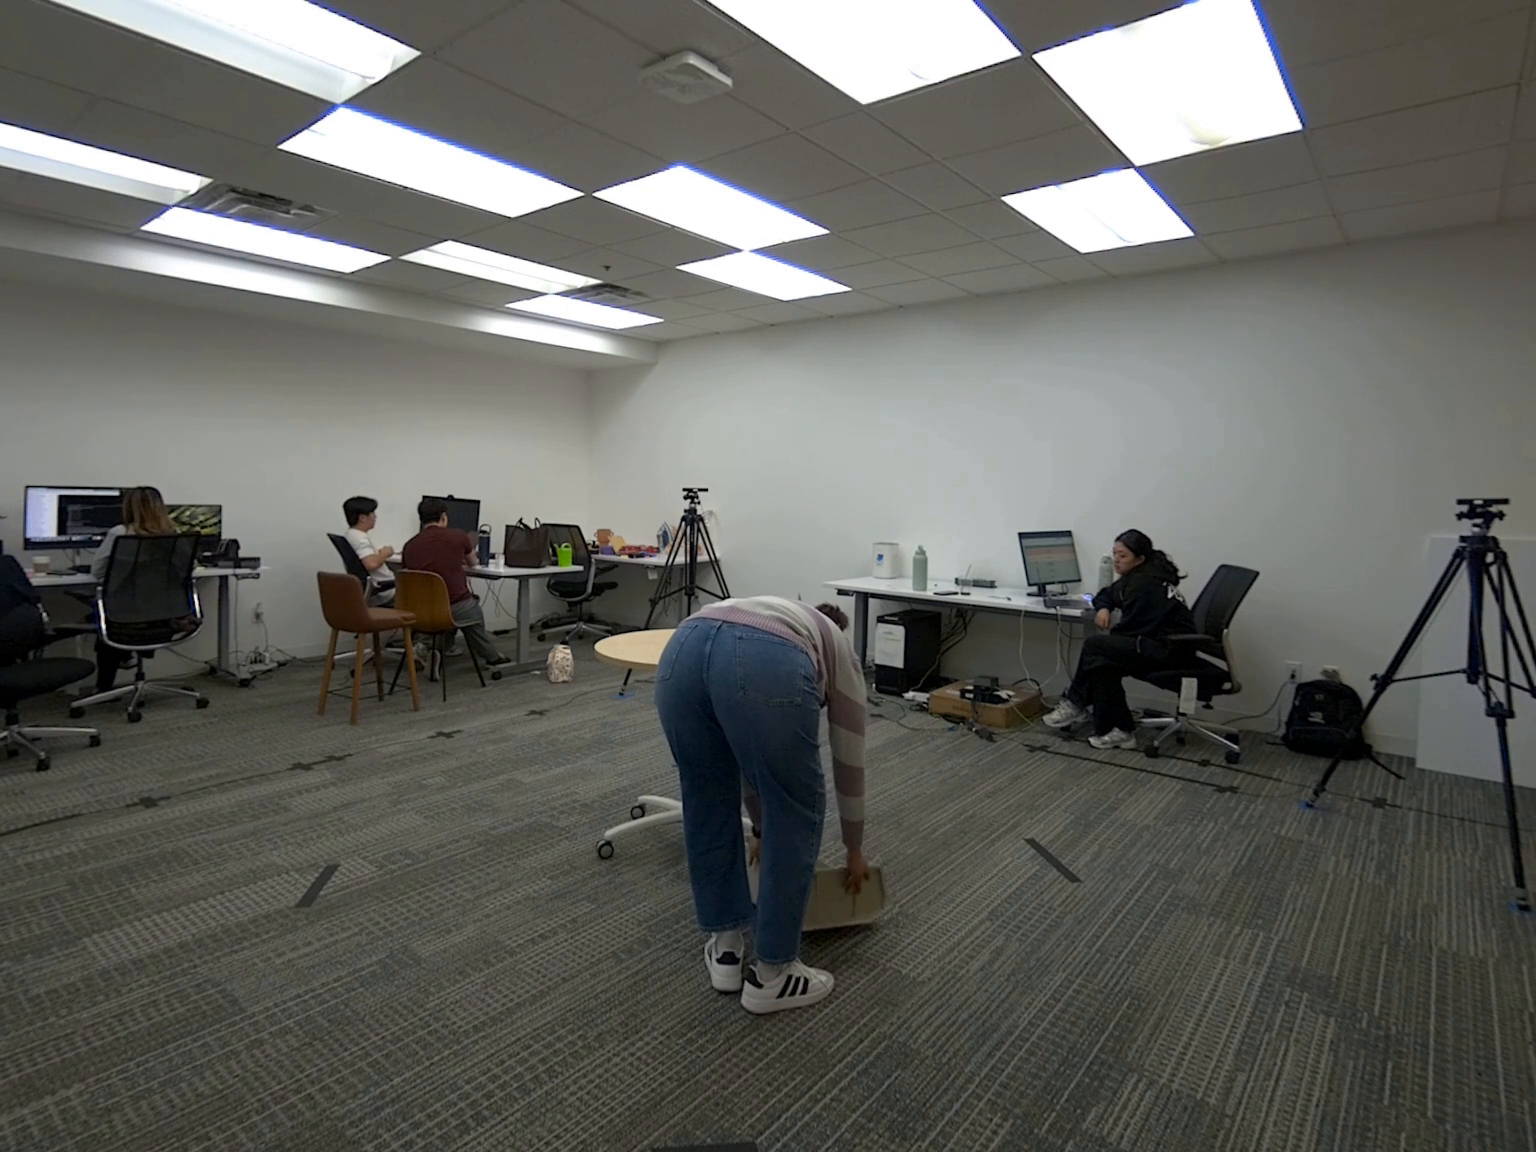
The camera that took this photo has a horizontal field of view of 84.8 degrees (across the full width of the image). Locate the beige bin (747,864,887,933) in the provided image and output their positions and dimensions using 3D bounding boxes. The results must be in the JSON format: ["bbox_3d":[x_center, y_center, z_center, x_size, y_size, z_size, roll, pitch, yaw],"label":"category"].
[{"bbox_3d":[0.113,0.987,2.805,0.366,0.189,0.434,7,-2,-32],"label":"beige bin"}]
